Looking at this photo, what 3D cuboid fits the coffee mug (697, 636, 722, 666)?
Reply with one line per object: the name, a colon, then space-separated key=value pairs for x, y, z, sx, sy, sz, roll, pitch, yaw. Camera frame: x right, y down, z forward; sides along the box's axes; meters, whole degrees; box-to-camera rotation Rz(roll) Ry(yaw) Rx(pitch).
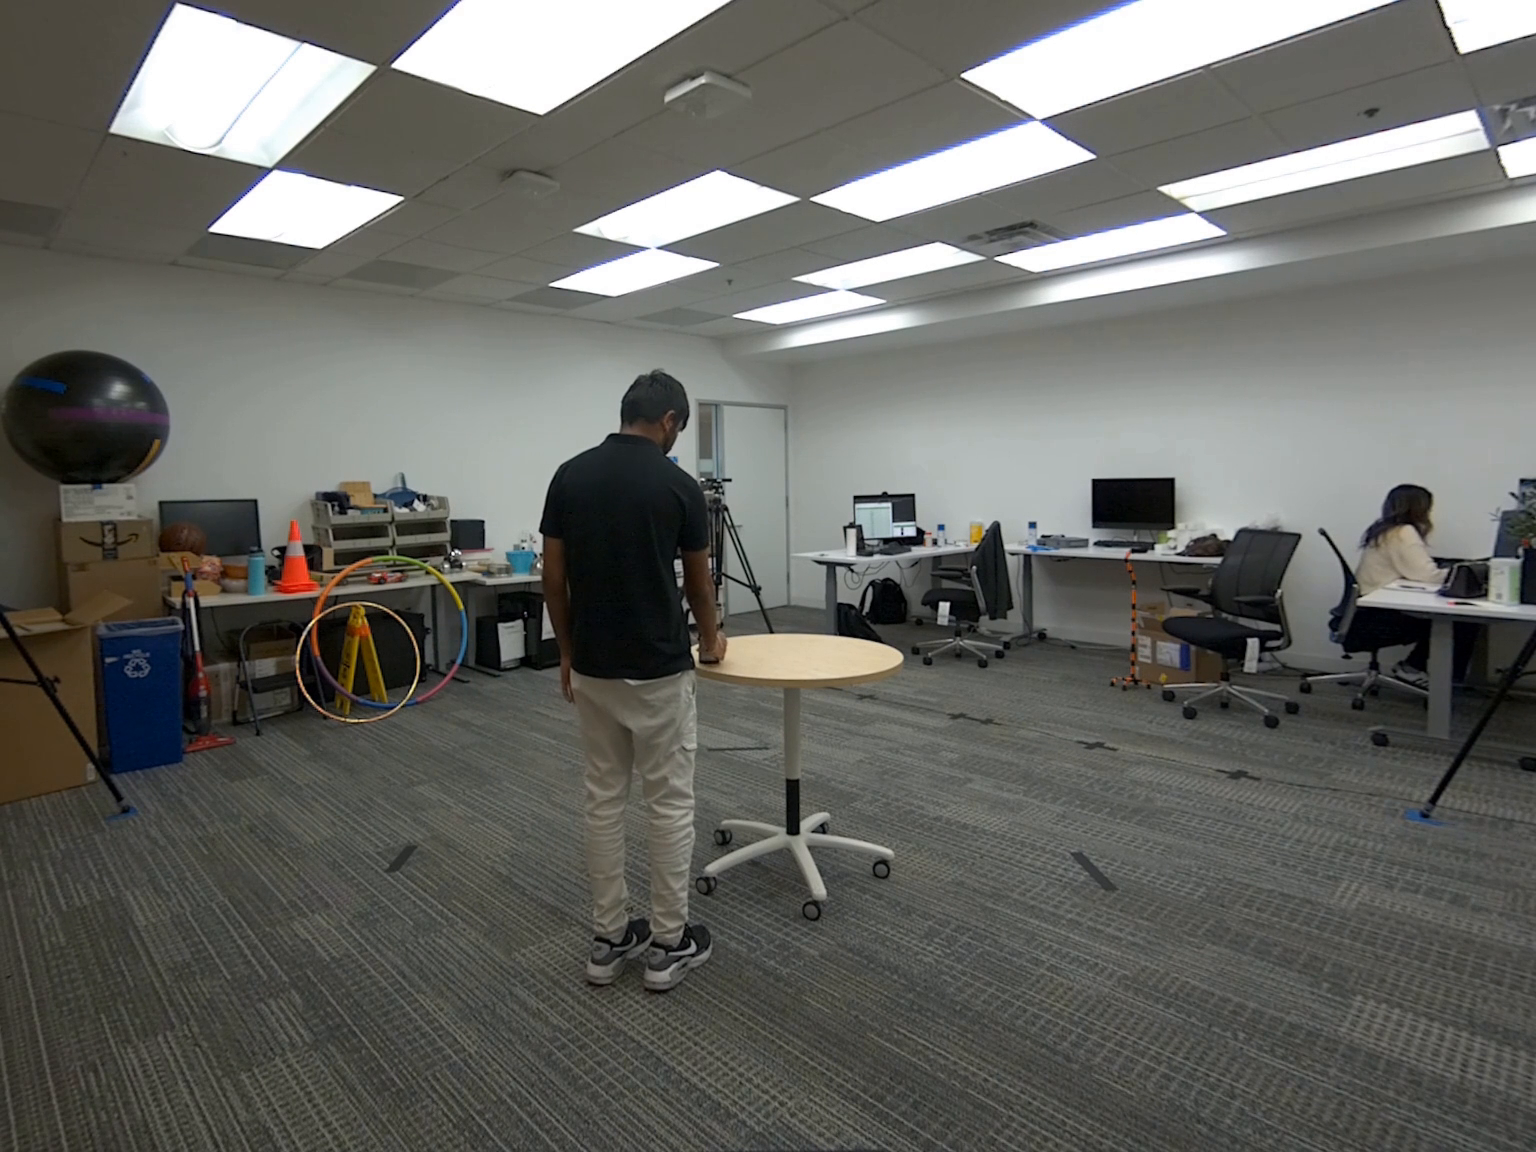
coffee mug: x=-0.209 y=0.184 z=2.862 sx=0.124 sy=0.202 sz=0.087 roll=6 pitch=8 yaw=19
